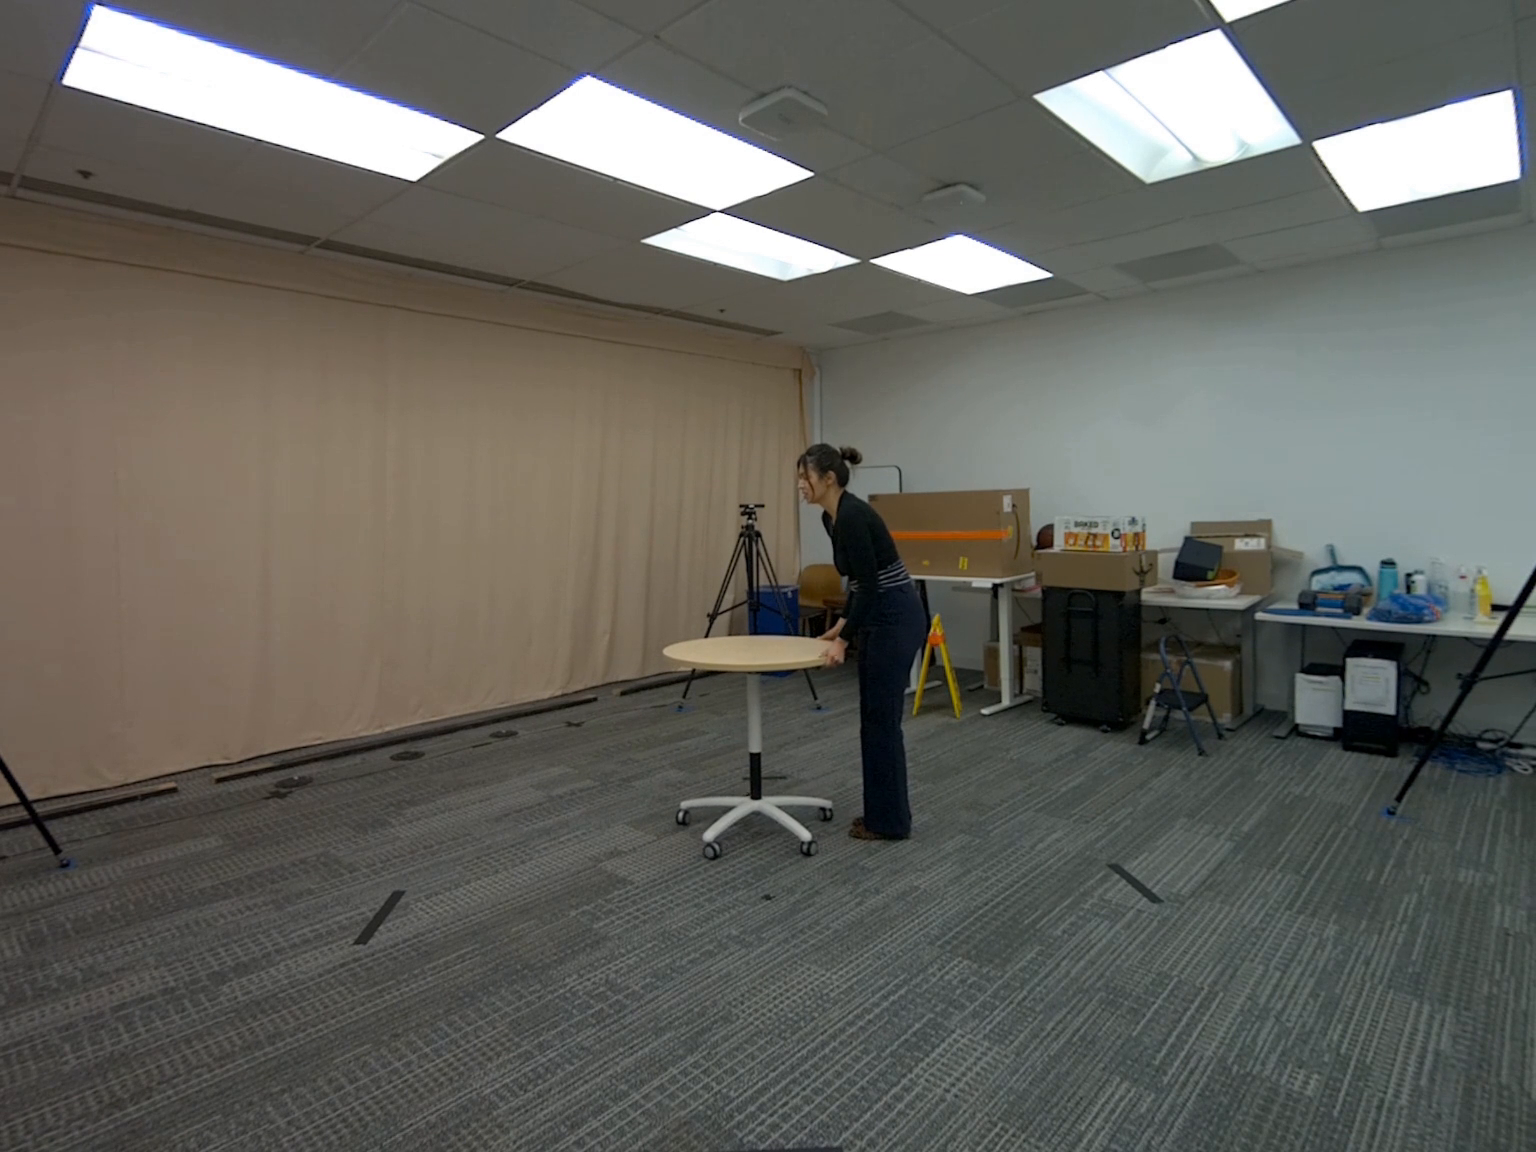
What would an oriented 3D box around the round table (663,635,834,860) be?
[{"bbox_3d":[-0.058,0.702,3.575,0.763,0.793,0.766,-1,3,-2],"label":"round table"}]
